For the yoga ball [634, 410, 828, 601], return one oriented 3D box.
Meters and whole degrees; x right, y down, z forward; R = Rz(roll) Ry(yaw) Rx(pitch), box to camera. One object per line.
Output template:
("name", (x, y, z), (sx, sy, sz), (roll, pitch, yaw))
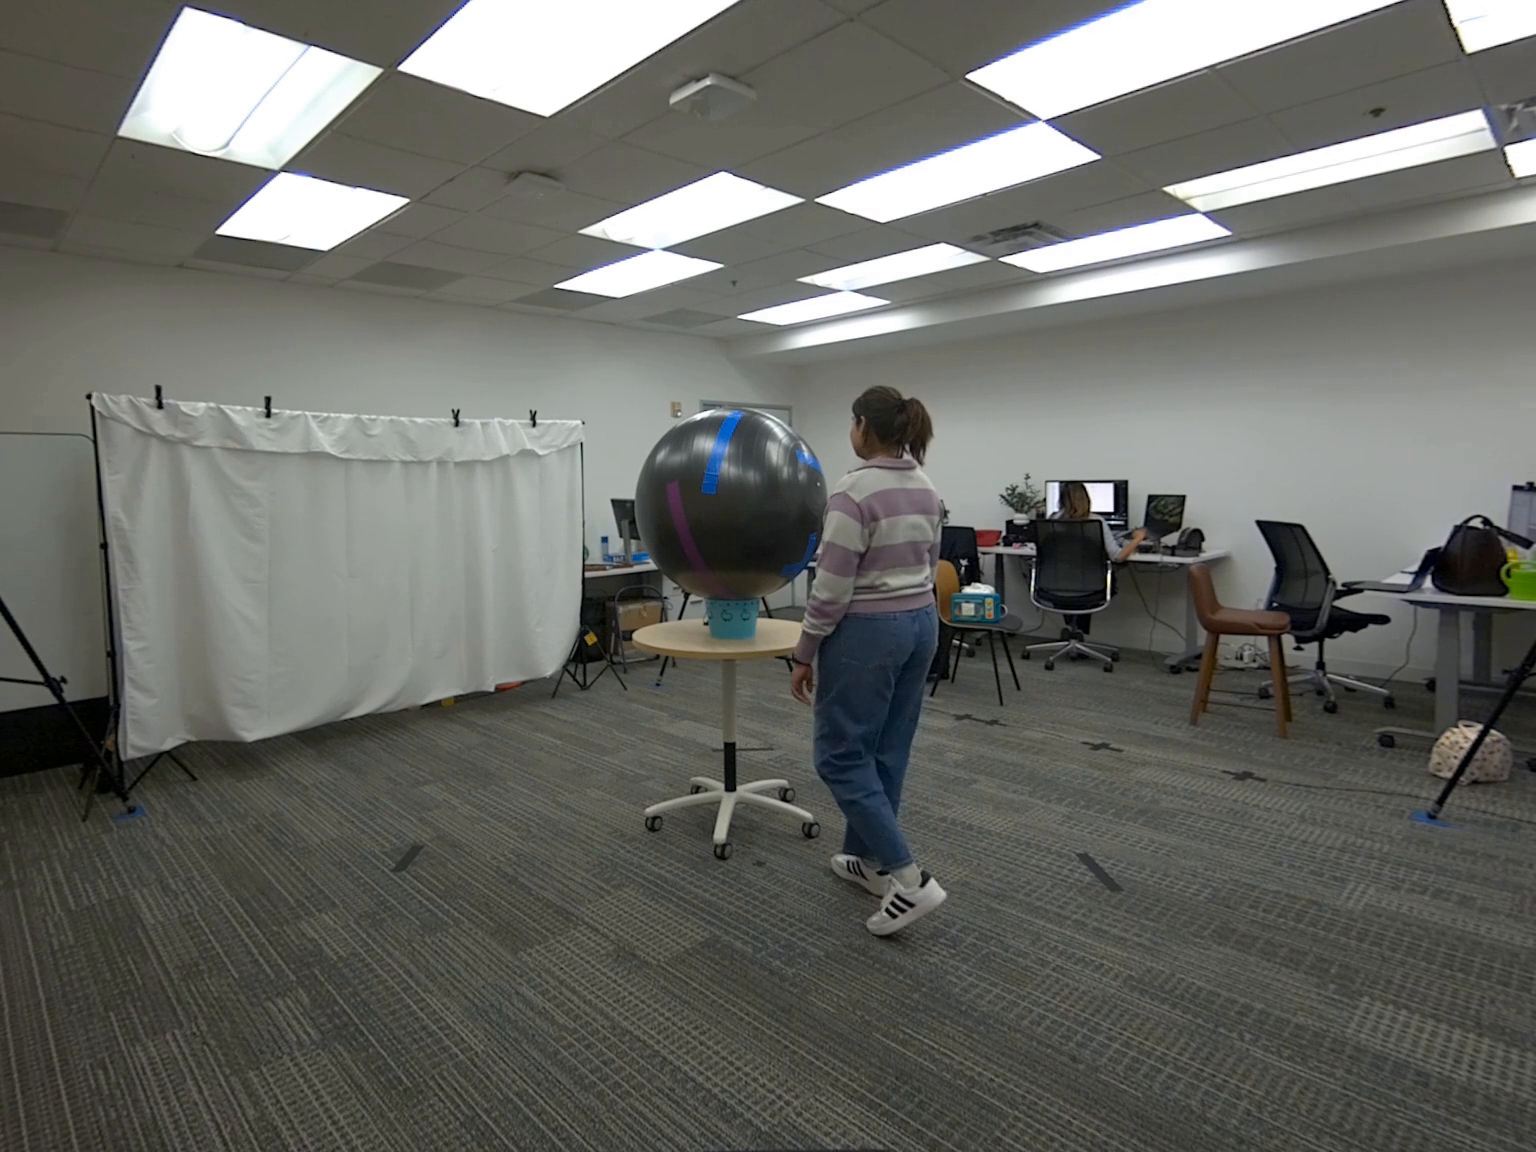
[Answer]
("yoga ball", (-0.150, -0.275, 3.360), (0.757, 0.755, 0.762), (-1, 5, -2))
